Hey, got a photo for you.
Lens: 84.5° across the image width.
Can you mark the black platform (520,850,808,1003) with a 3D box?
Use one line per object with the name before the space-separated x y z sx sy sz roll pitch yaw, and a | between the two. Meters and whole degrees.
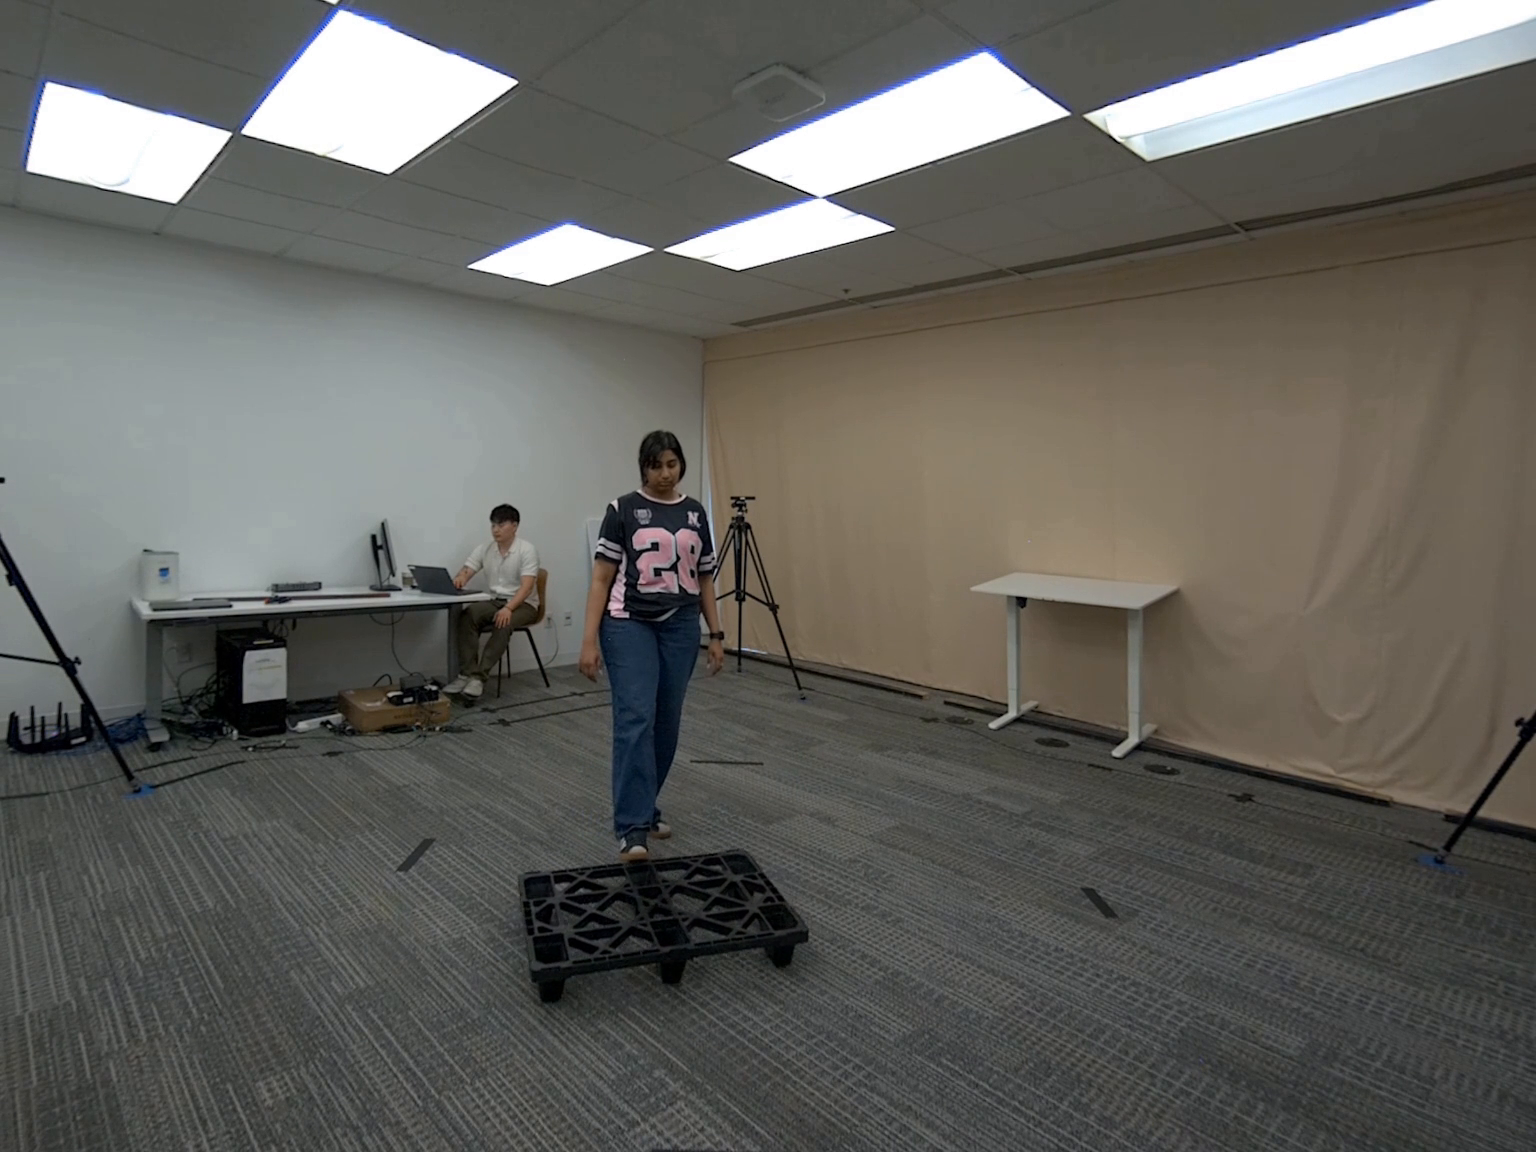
black platform | -0.355 1.079 2.617 0.794 0.143 0.616 -1 6 -18
